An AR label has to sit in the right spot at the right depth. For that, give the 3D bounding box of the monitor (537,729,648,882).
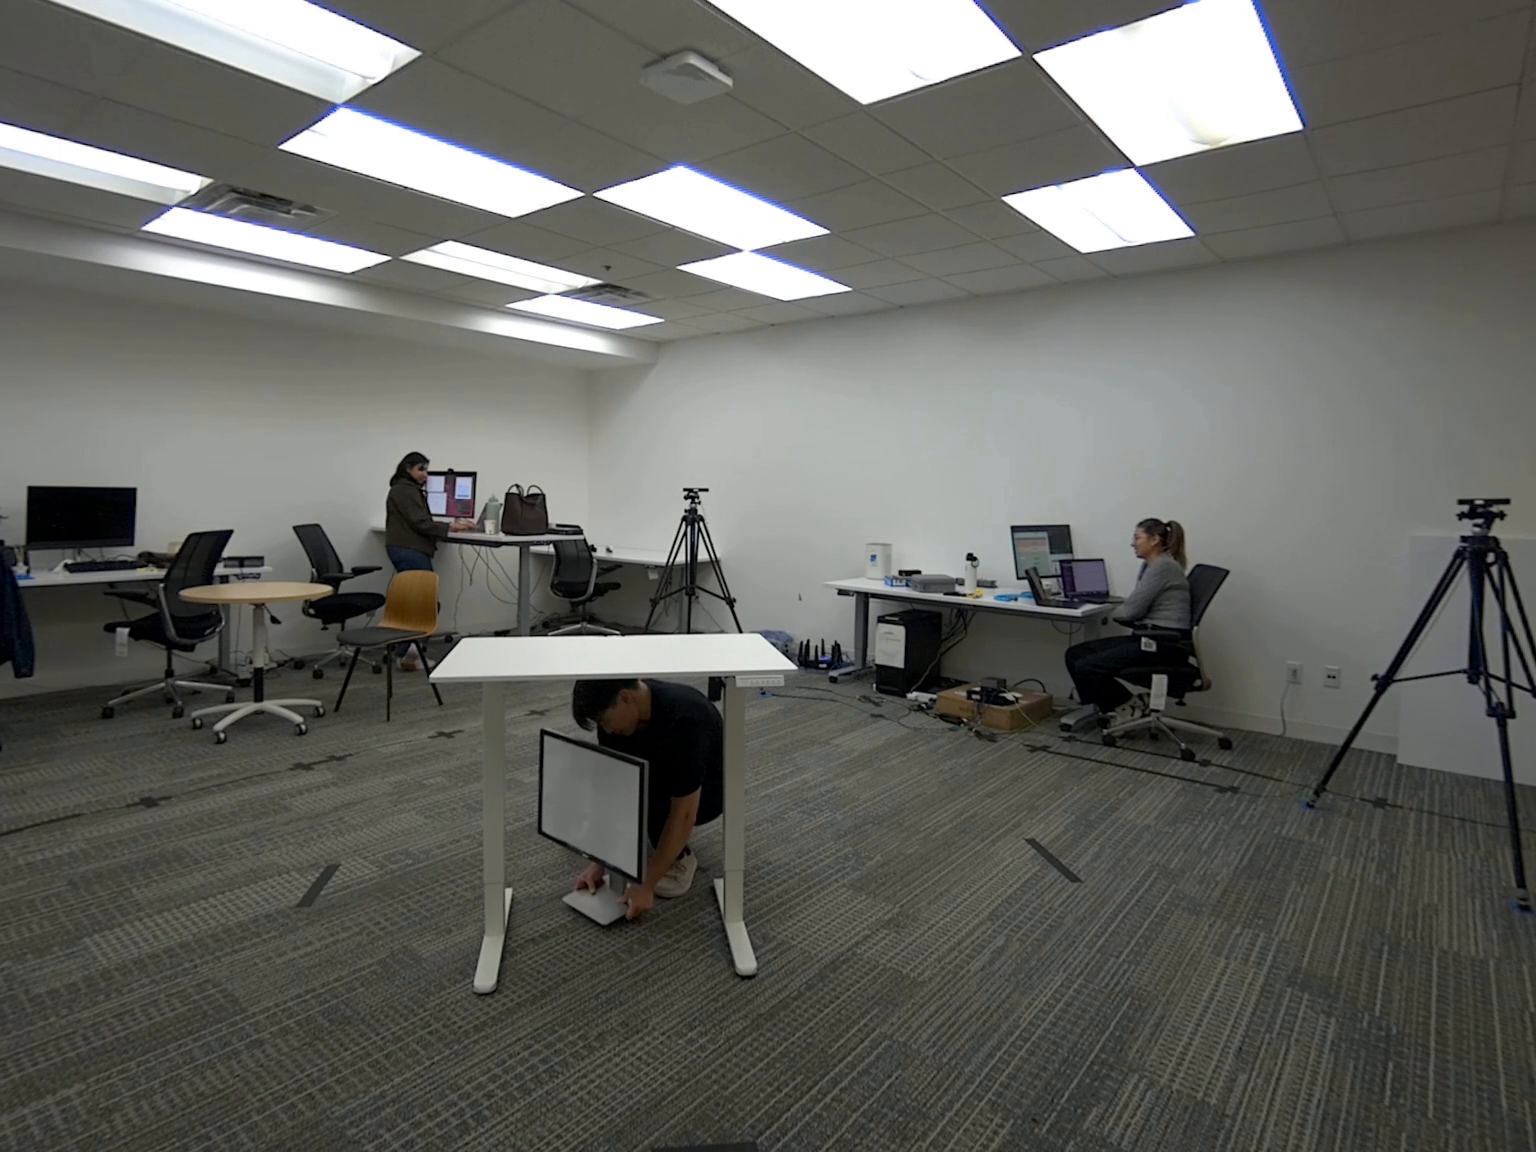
[{"bbox_3d":[-0.565,0.801,2.769,0.557,0.518,0.182,2,11,43],"label":"monitor"}]
